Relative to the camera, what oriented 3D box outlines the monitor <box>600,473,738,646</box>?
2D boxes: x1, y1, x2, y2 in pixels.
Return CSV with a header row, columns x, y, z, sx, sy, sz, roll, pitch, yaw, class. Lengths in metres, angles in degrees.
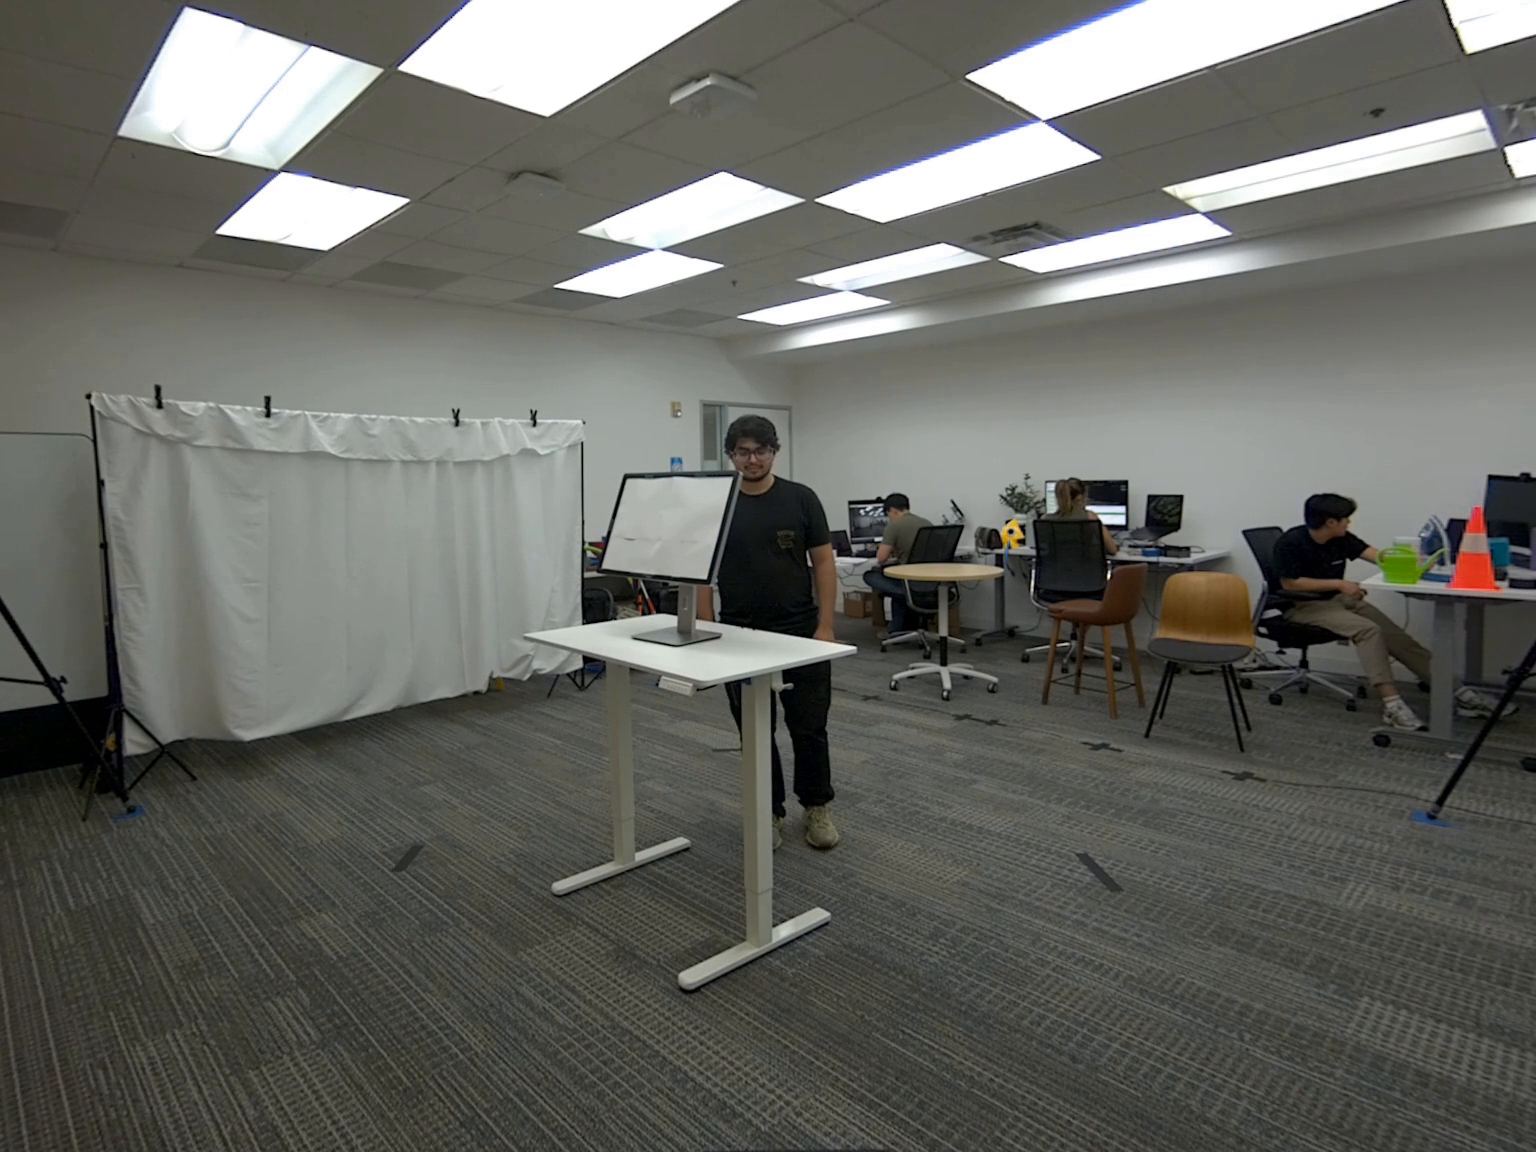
x,y,z,sx,sy,sz,roll,pitch,yaw,class
-0.285,-0.064,2.803,0.583,0.556,0.203,3,-5,43,monitor
